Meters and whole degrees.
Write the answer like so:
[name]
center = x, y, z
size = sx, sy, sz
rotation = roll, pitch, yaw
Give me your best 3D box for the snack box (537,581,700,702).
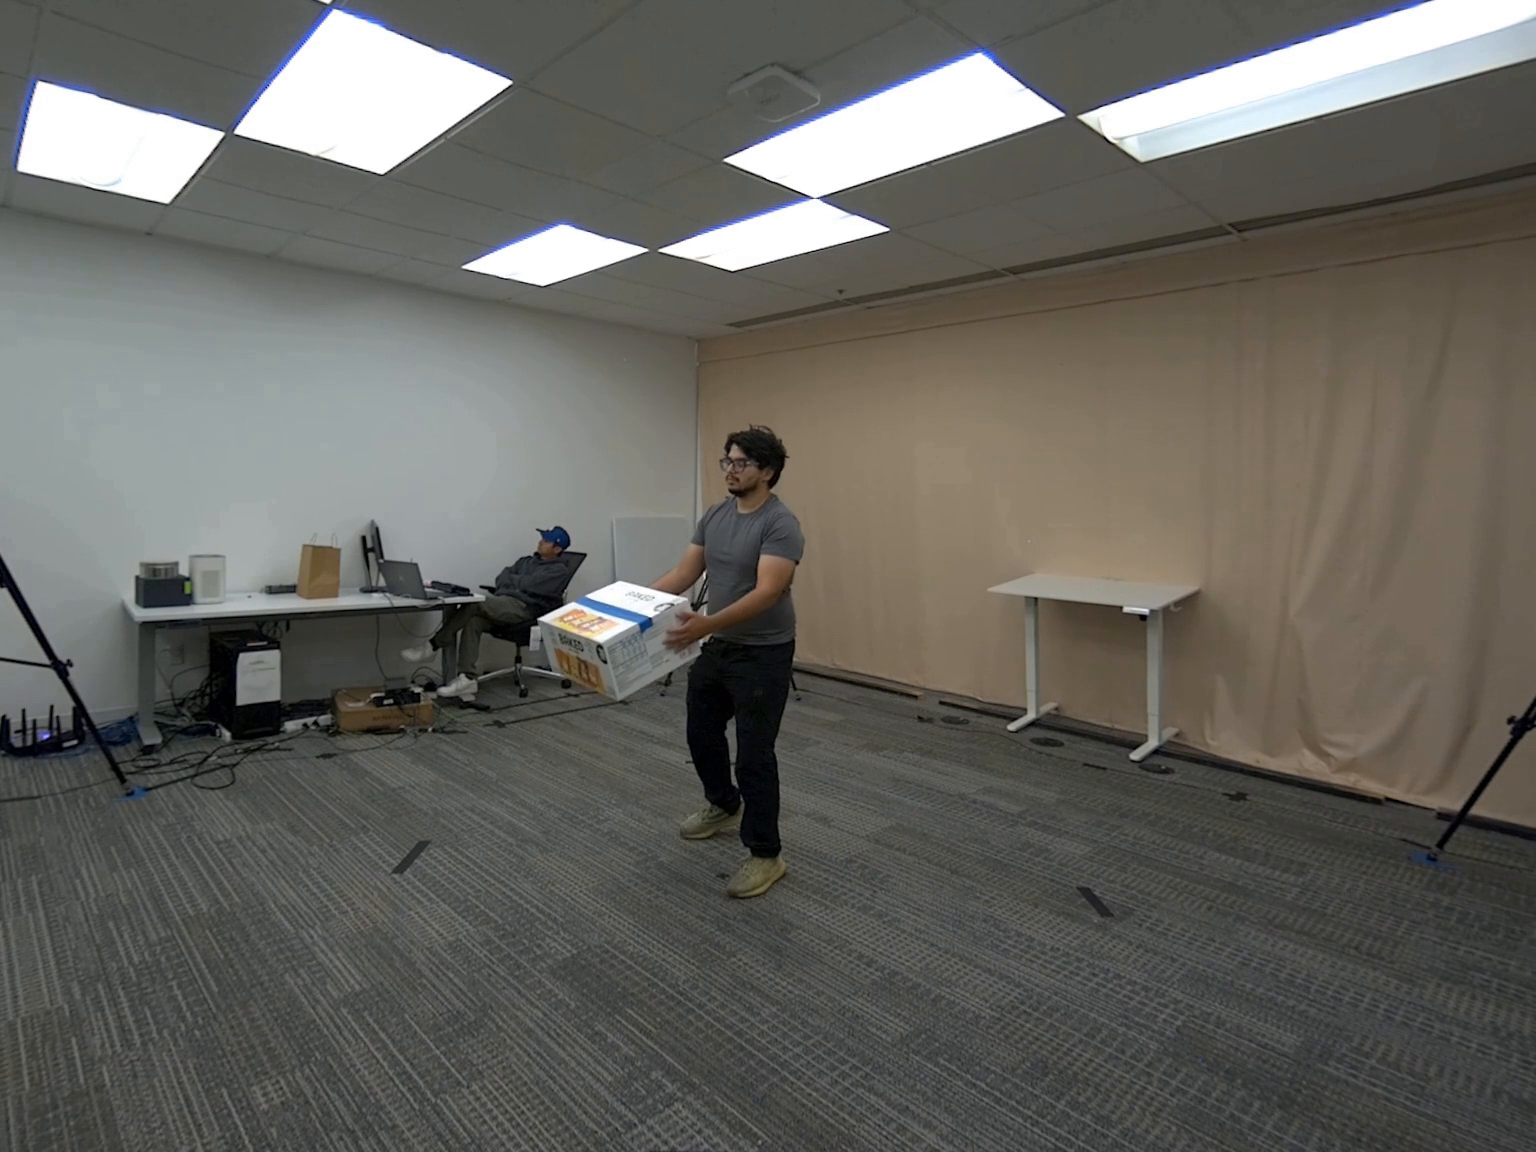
[snack box]
center = -0.499, 0.204, 2.774
size = 0.337, 0.202, 0.416
rotation = -29, 25, -37
